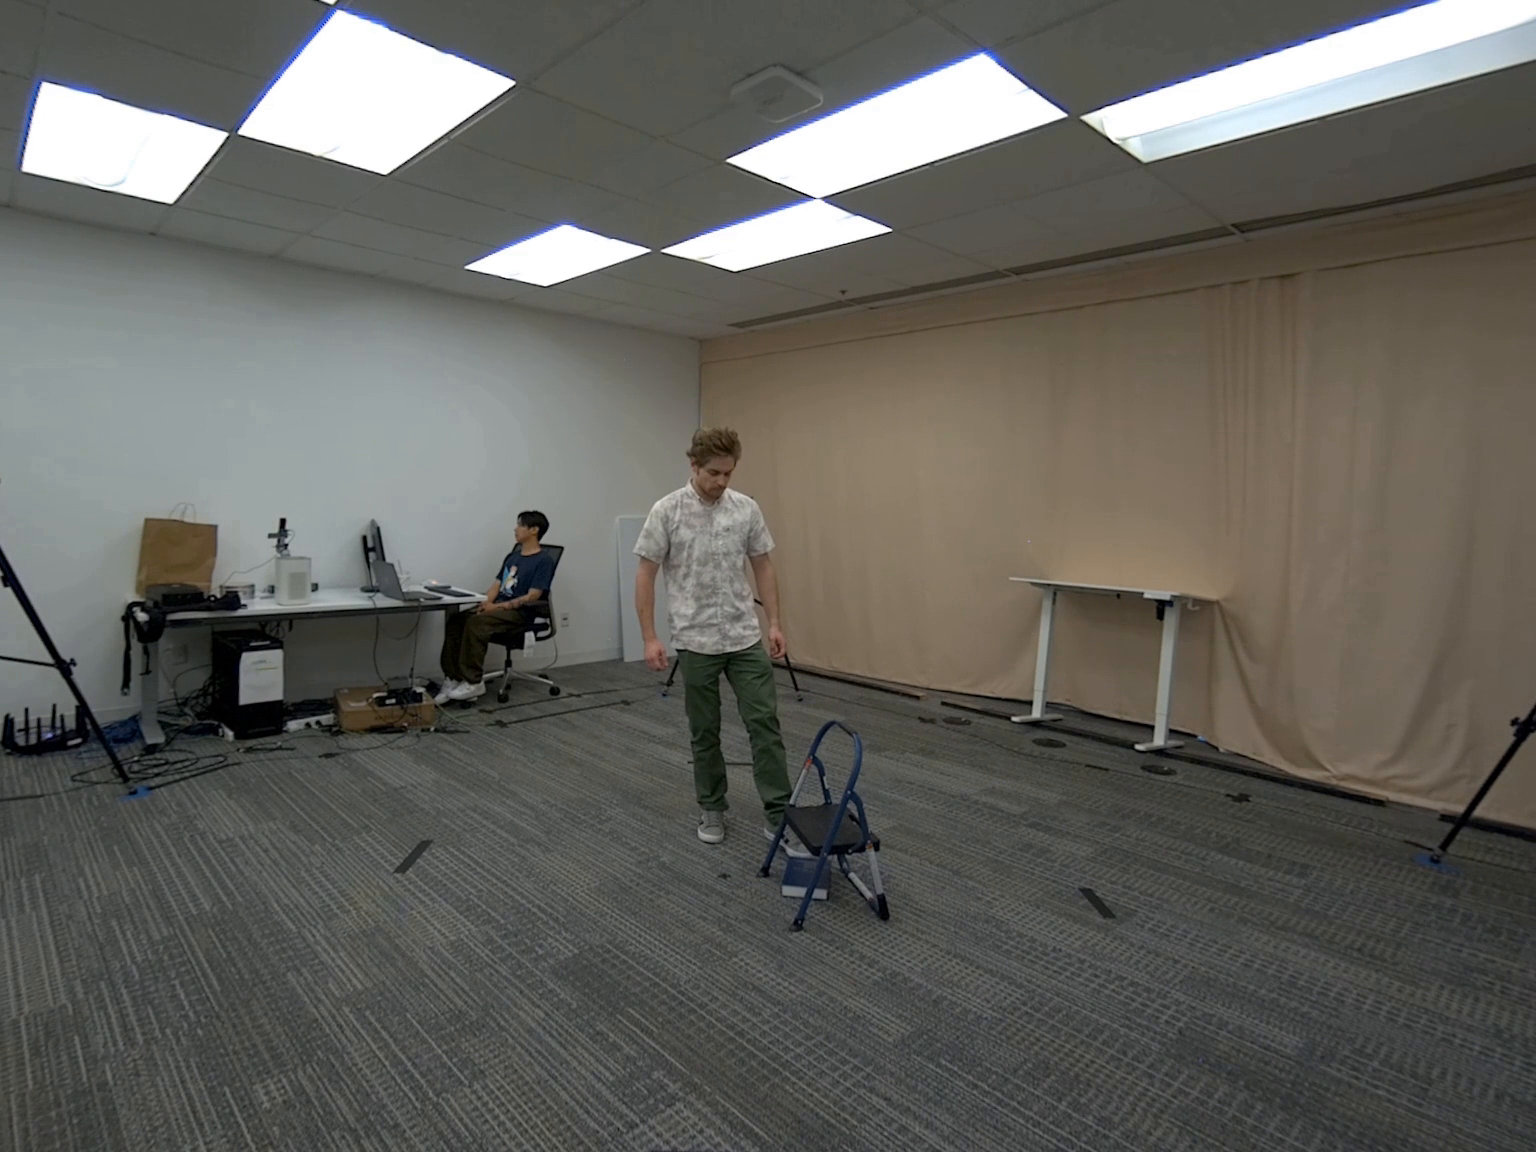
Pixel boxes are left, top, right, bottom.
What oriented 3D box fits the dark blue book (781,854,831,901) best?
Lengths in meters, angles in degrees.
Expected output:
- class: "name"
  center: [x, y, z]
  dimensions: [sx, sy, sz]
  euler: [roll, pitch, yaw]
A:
- class: "dark blue book"
  center: [0.130, 1.088, 3.062]
  dimensions: [0.164, 0.045, 0.244]
  euler: [3, 3, 8]
